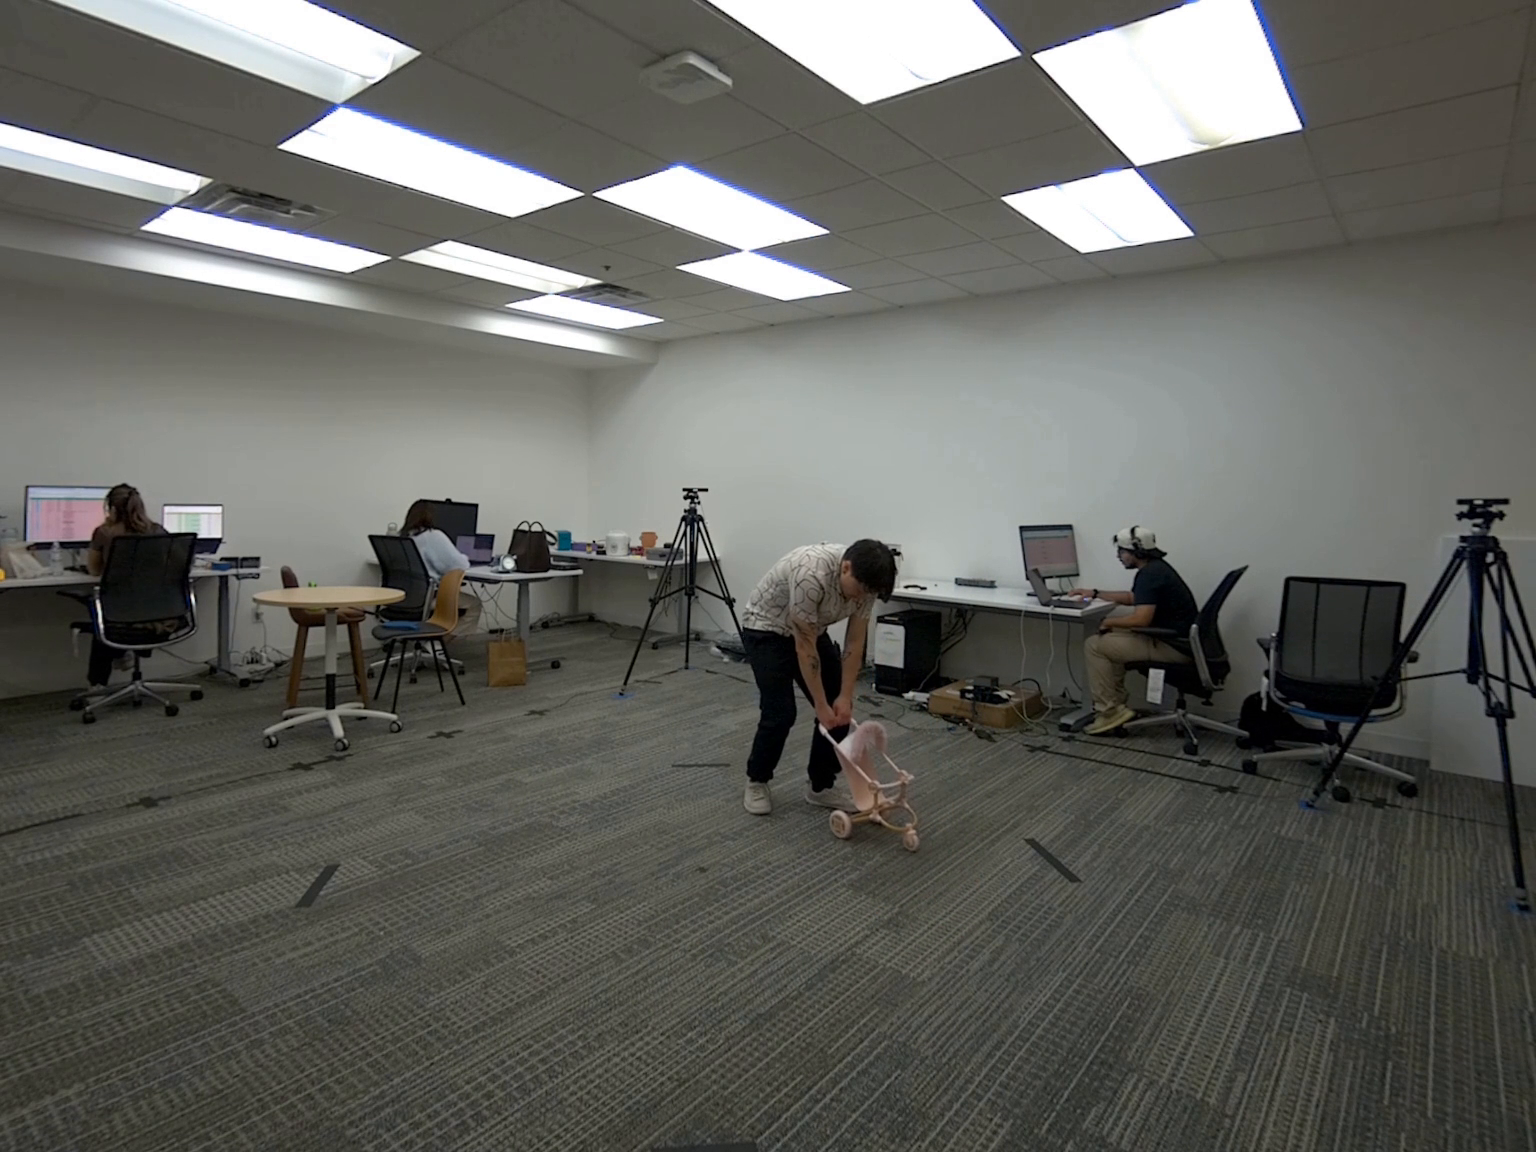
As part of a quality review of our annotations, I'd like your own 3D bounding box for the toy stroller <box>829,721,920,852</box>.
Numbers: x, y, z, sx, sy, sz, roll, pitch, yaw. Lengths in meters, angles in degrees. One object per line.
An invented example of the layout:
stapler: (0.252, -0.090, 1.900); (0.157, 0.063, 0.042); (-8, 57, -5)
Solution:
toy stroller: (0.421, 0.826, 3.445); (0.273, 0.541, 0.348); (-2, -11, -41)
